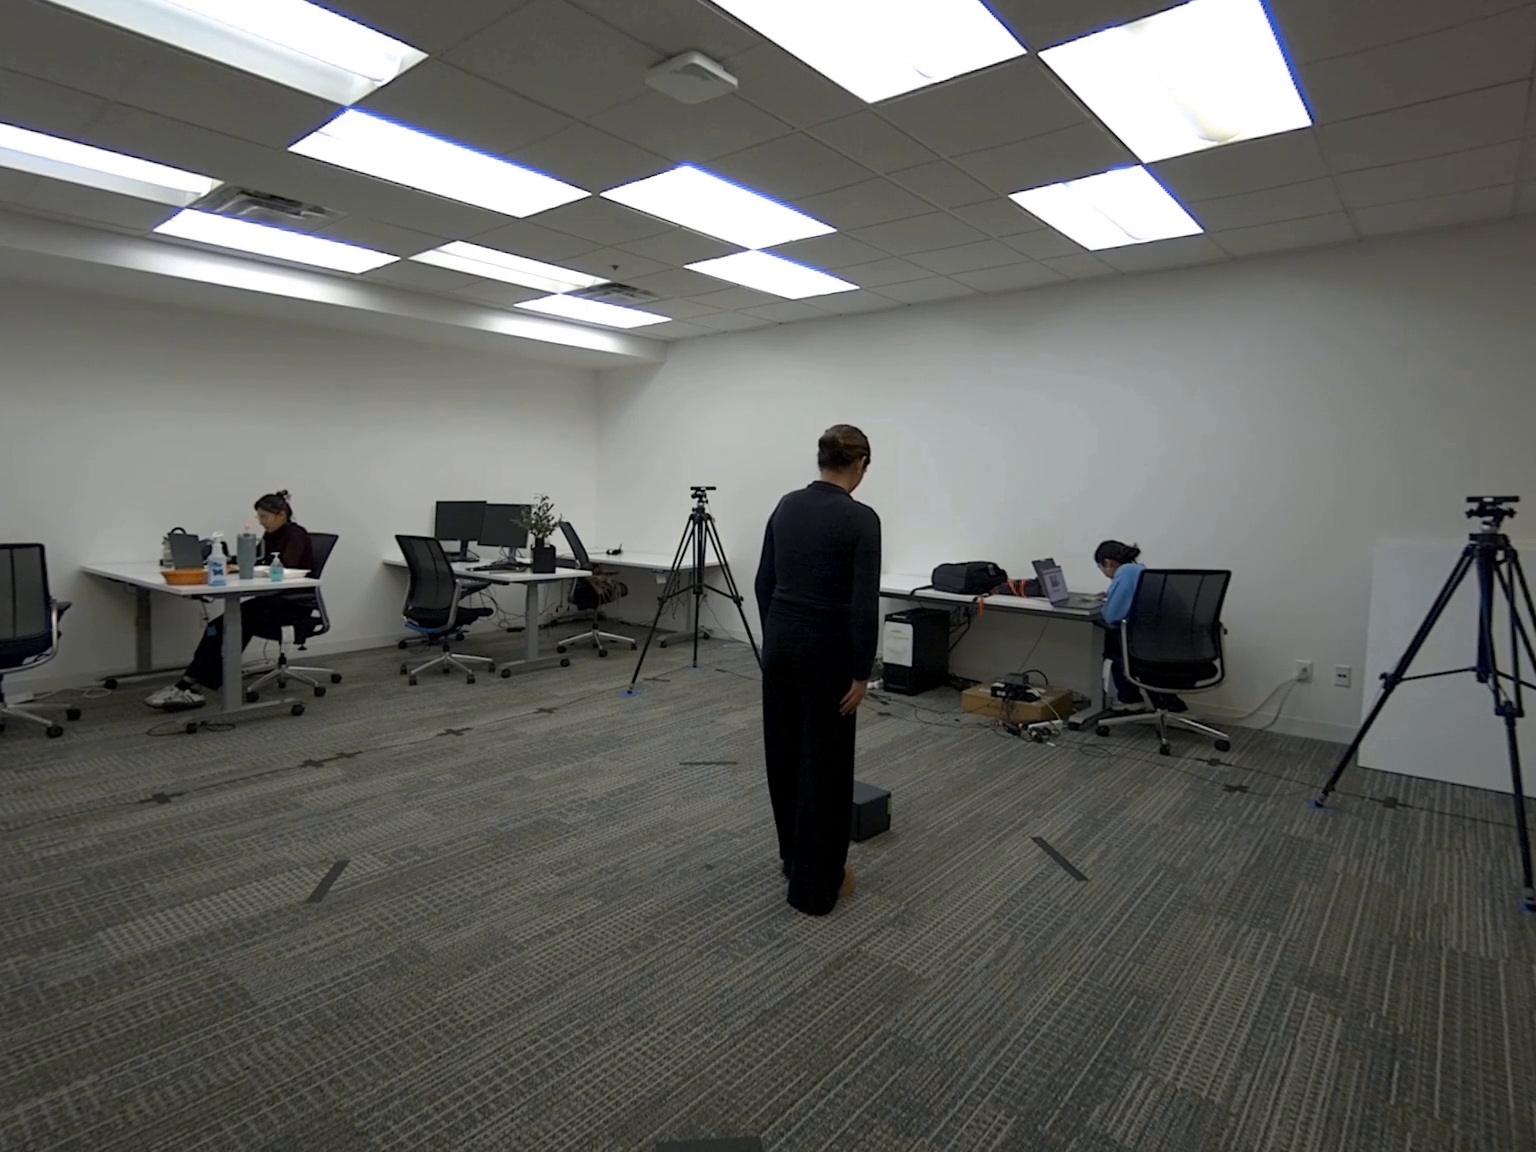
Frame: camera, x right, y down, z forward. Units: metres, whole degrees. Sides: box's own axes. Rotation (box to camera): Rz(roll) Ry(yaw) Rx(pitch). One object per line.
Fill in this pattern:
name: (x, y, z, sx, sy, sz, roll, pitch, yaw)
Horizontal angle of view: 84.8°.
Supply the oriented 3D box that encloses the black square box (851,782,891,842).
black square box: (0.344, 0.953, 3.504, 0.210, 0.155, 0.236, -3, 6, -44)
